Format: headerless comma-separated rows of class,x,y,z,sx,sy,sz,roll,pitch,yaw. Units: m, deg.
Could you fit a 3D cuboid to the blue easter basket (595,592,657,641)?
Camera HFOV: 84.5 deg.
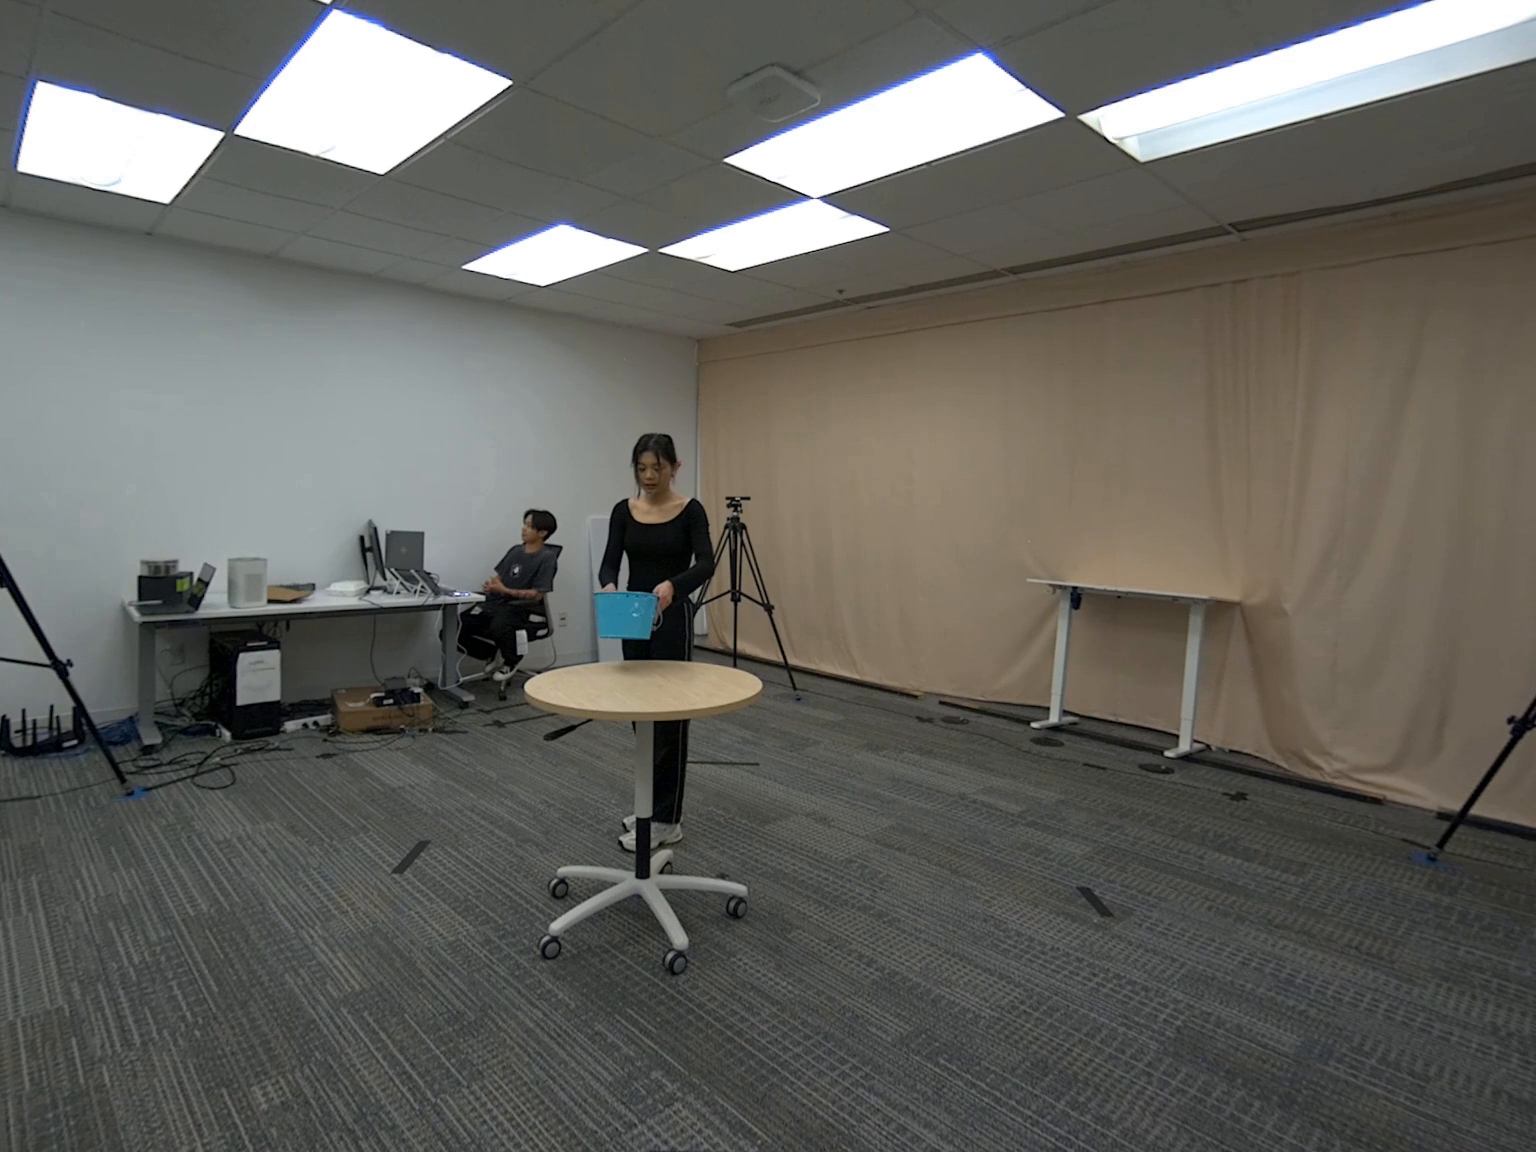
blue easter basket,-0.514,0.148,2.967,0.243,0.156,0.242,2,-5,-1
